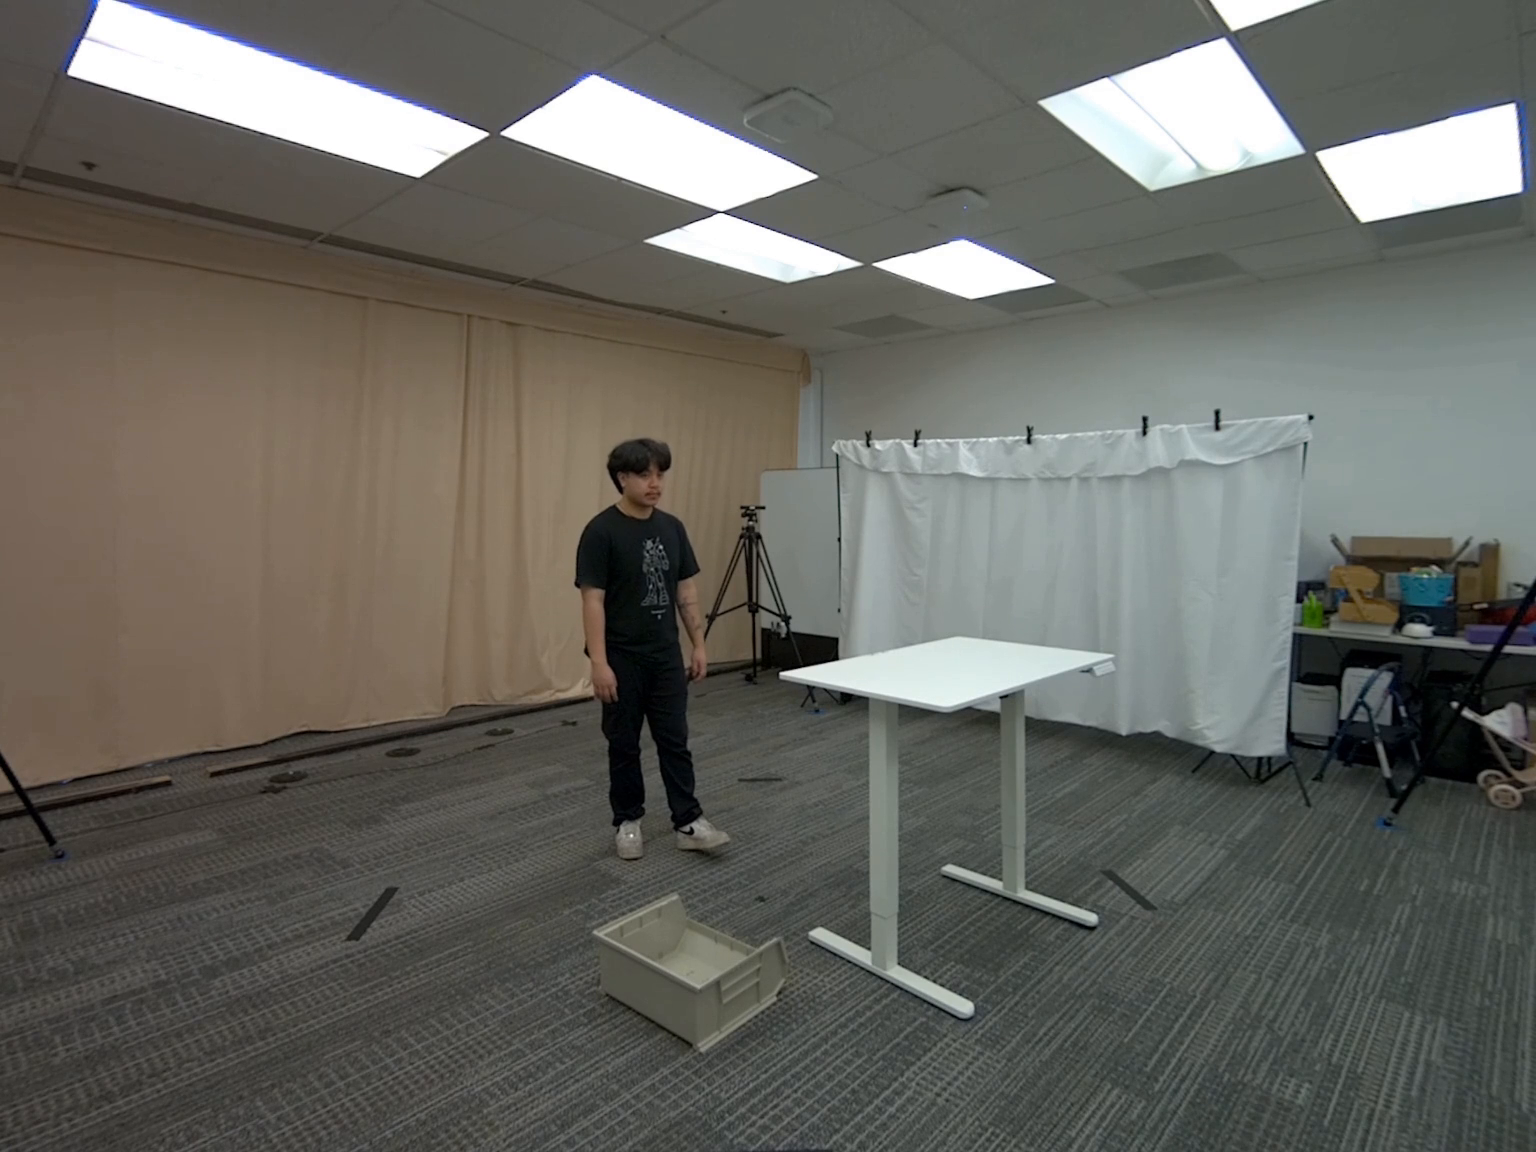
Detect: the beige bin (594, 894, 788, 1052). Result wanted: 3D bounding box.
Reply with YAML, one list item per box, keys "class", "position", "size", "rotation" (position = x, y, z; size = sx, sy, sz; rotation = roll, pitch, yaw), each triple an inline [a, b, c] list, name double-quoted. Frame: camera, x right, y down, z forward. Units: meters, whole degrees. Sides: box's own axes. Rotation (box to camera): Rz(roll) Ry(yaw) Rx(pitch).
- class: "beige bin"
  position: [-0.219, 1.107, 2.400]
  size: [0.436, 0.188, 0.366]
  rotation: [4, 7, 39]
